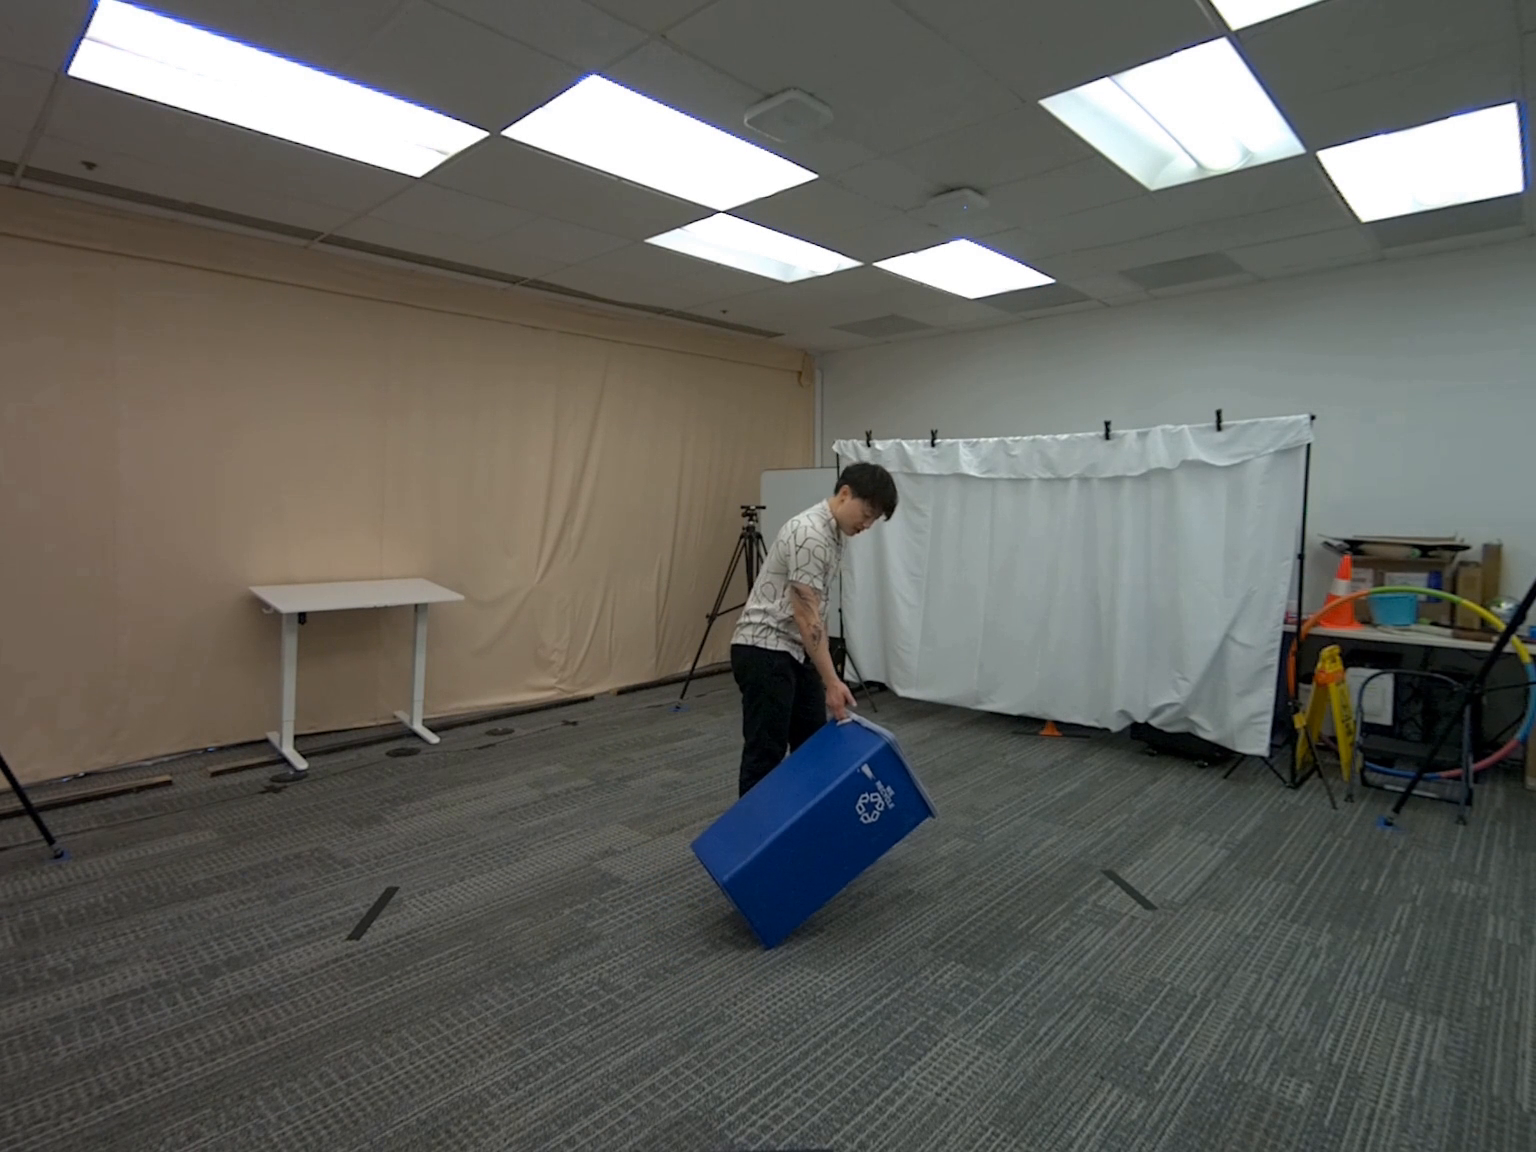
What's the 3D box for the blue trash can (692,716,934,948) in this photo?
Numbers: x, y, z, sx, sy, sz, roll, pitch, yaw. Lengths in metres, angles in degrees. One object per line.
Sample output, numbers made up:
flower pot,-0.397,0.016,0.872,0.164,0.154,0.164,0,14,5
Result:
blue trash can,0.153,0.838,2.824,0.708,0.367,0.388,-37,18,-15
